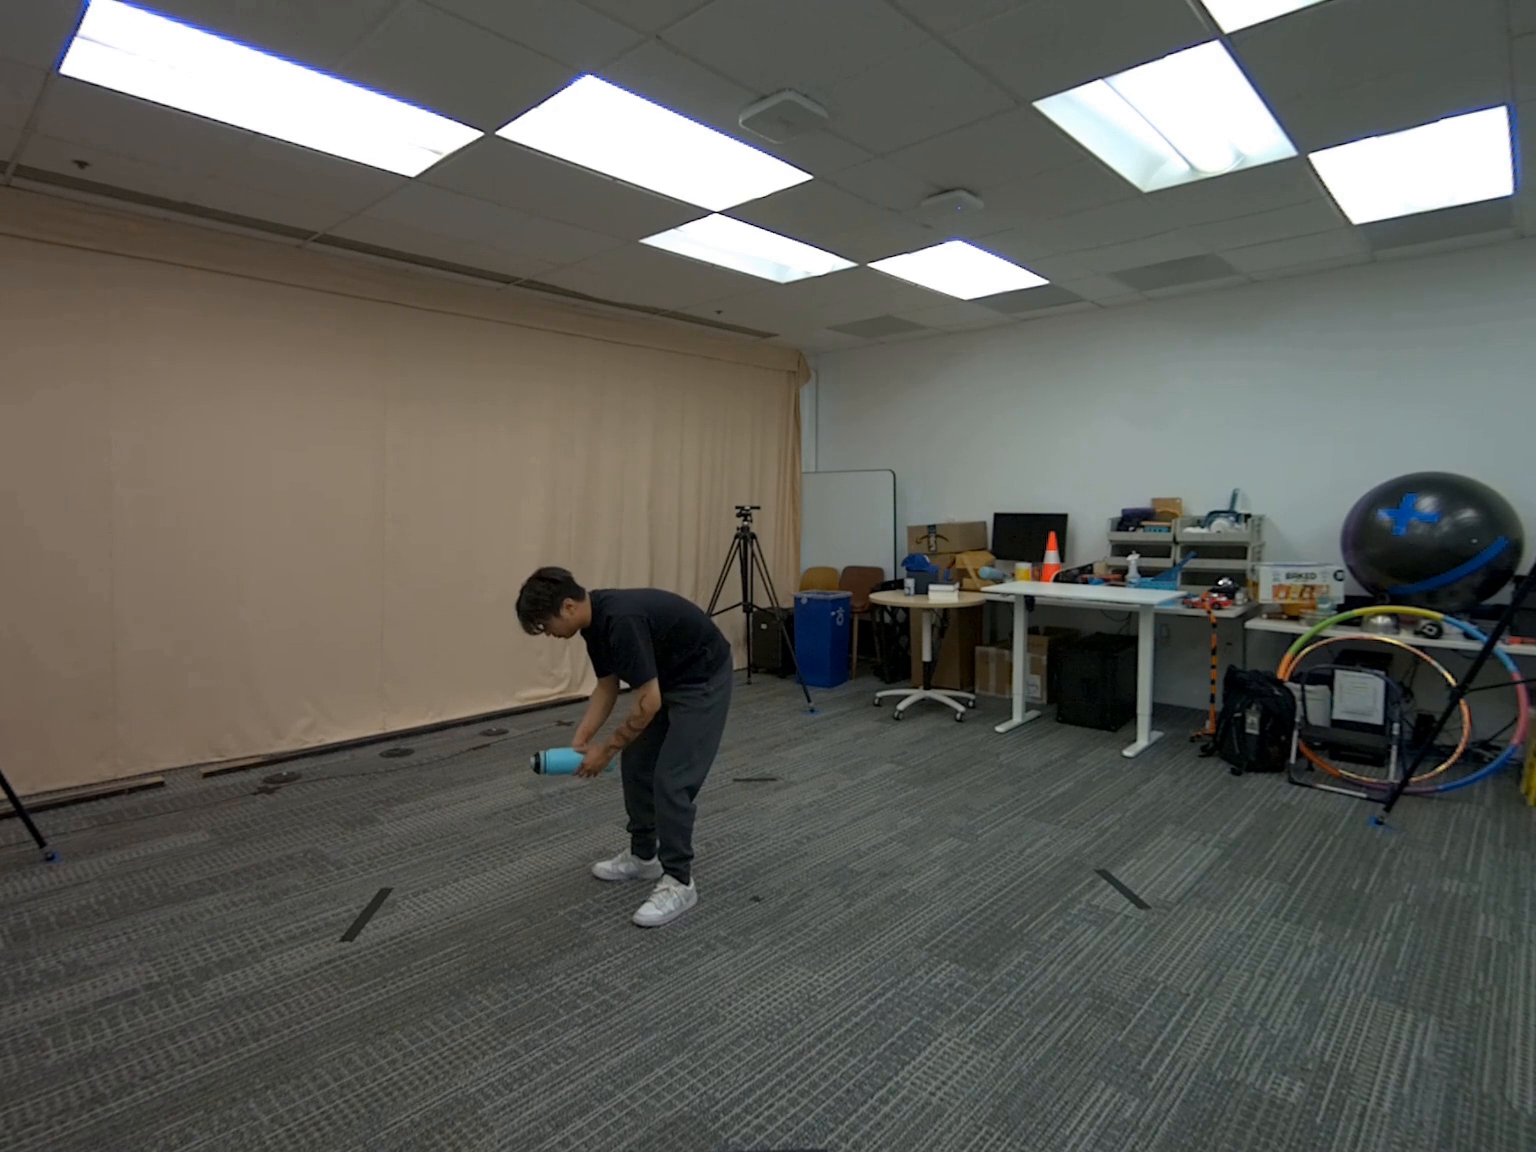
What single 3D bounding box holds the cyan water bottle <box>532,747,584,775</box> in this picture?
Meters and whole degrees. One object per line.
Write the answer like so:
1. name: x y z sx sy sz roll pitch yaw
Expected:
1. cyan water bottle: -0.678 0.641 2.920 0.280 0.092 0.093 -1 4 -11
